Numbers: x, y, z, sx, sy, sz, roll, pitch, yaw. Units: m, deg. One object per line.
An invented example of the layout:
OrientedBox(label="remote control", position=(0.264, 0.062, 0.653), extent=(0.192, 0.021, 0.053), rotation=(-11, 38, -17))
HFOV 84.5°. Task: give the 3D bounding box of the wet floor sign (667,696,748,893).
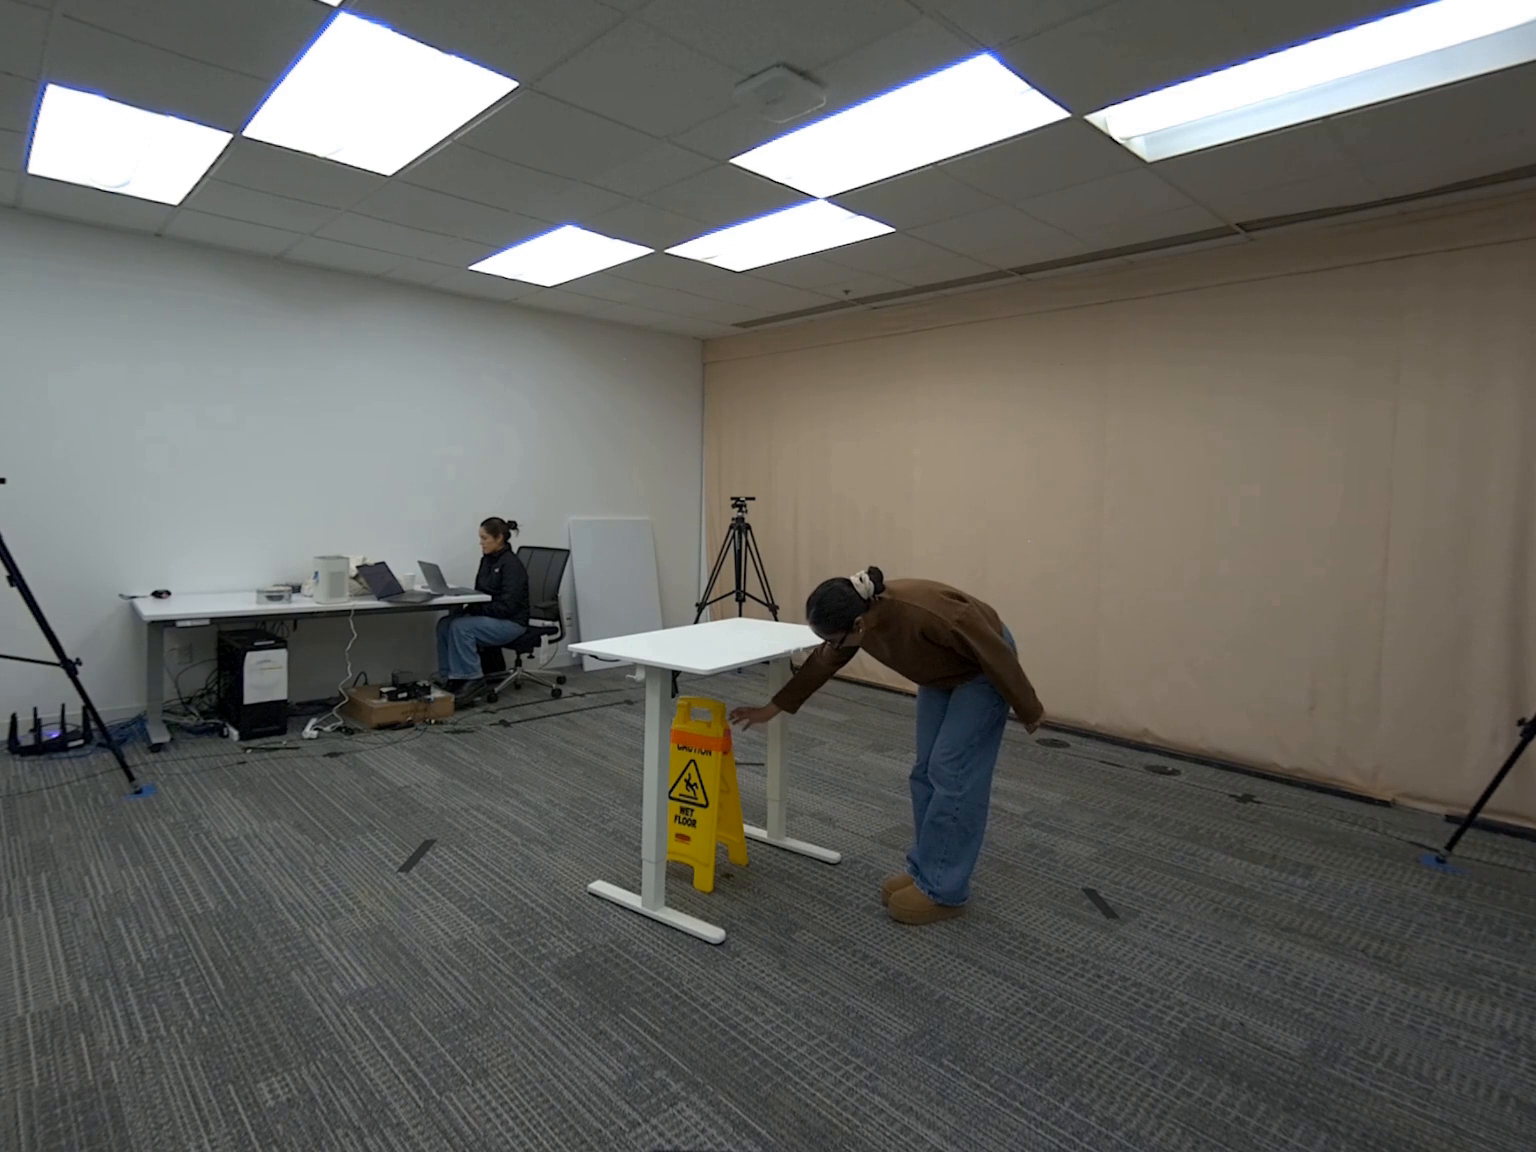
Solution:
OrientedBox(label="wet floor sign", position=(-0.258, 0.775, 3.137), extent=(0.288, 0.645, 0.284), rotation=(3, 3, 27))
